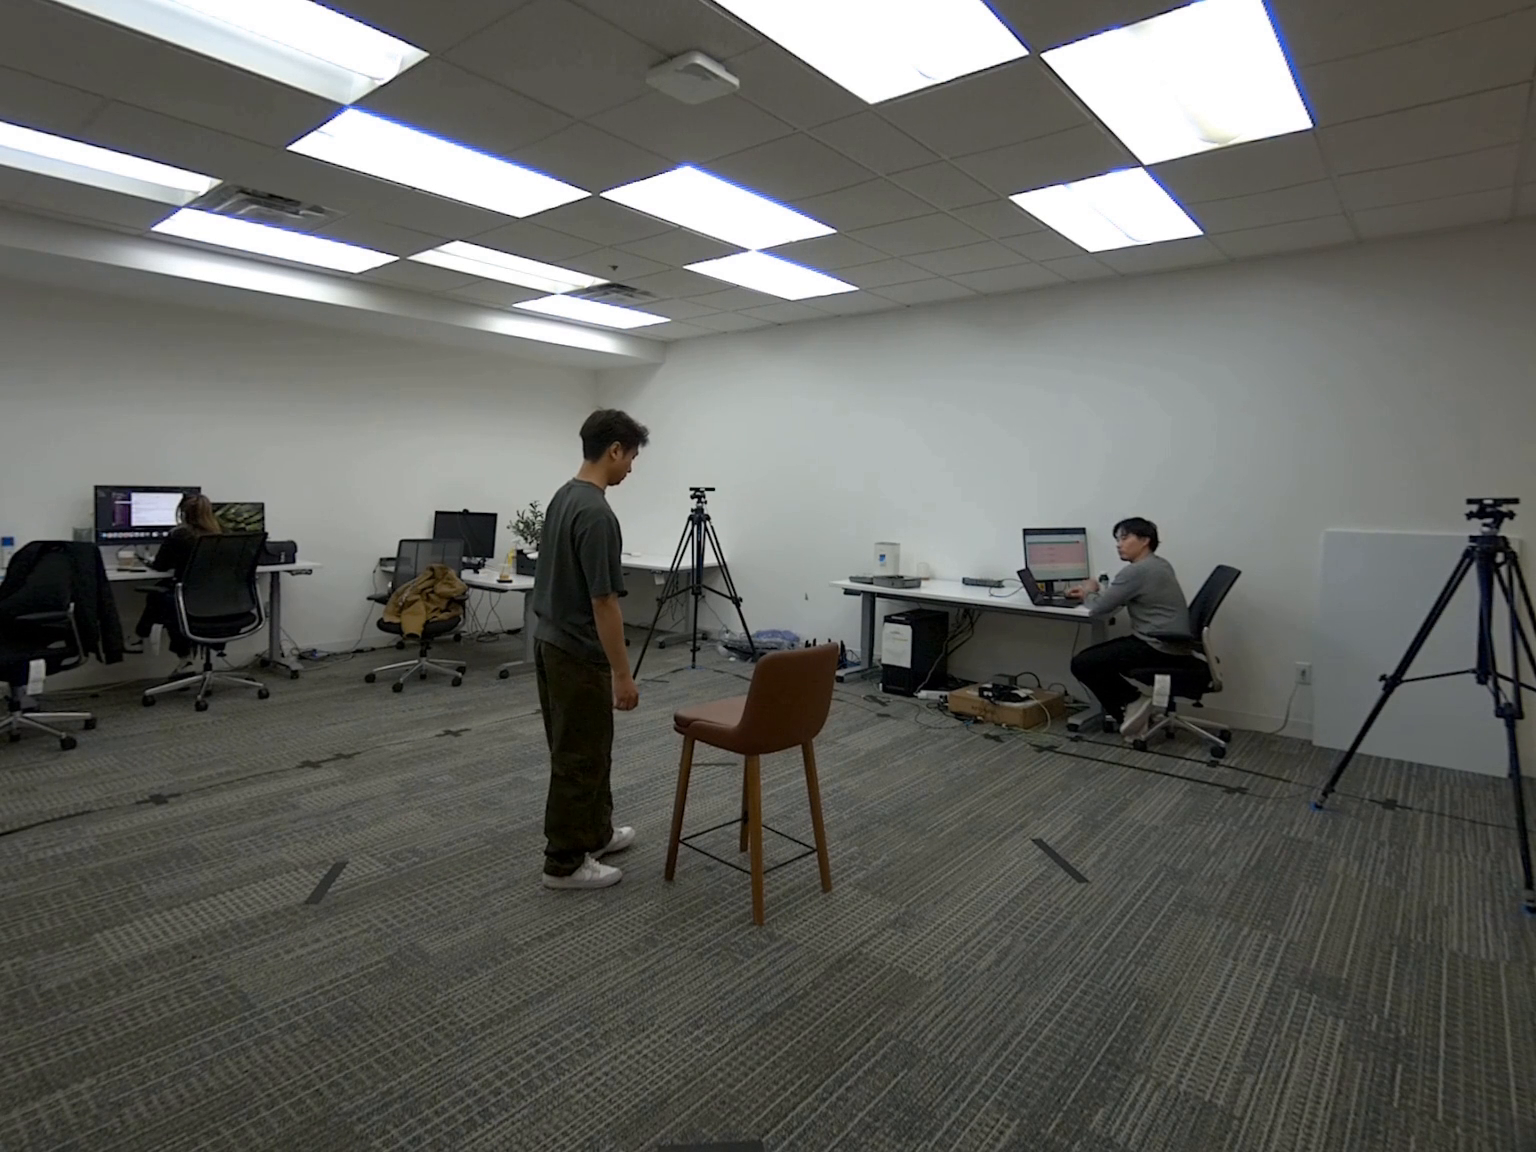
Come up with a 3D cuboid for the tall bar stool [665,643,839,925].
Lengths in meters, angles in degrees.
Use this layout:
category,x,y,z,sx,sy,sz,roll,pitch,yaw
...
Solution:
category,x,y,z,sx,sy,sz,roll,pitch,yaw
tall bar stool,-0.060,0.650,2.961,0.484,0.886,0.442,7,7,44
